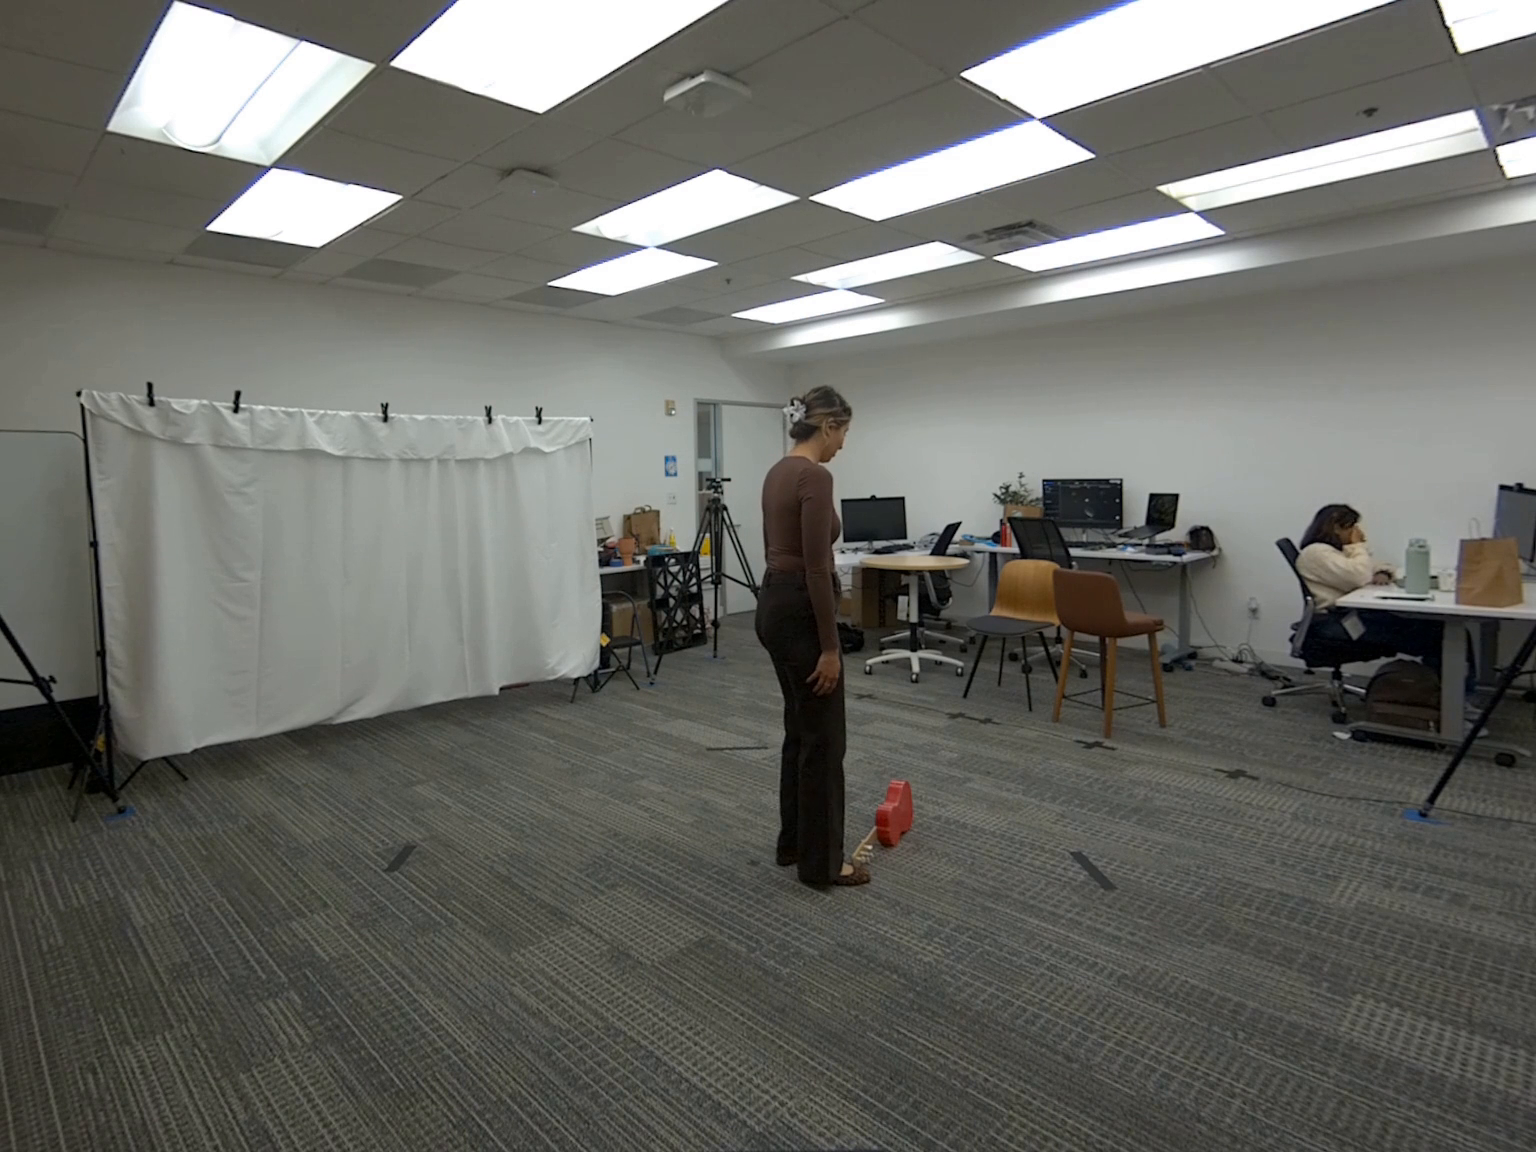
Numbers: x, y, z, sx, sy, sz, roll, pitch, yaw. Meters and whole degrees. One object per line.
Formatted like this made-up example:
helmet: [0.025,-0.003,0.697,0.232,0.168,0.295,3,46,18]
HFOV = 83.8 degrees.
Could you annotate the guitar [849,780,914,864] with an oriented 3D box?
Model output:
guitar: [0.444,0.978,3.225,0.072,0.189,0.496,-2,23,28]
